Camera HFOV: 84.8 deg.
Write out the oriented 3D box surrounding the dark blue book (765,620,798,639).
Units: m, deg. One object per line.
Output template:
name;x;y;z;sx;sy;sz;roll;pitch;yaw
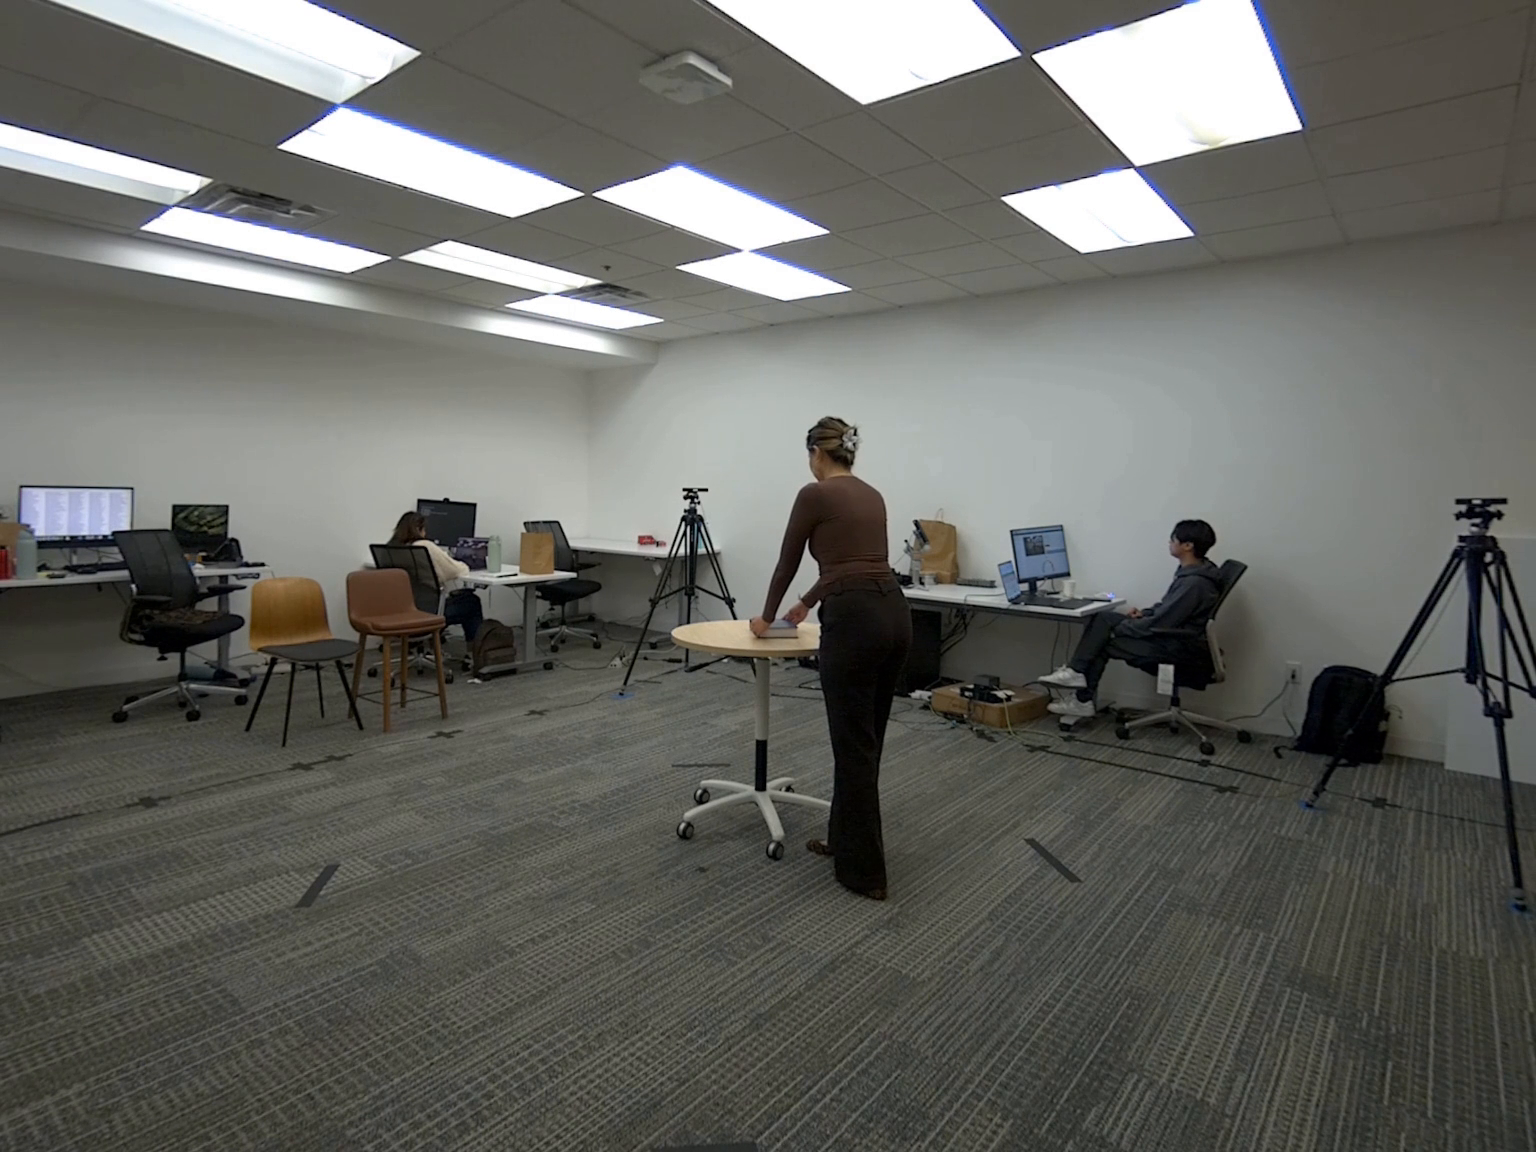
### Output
dark blue book;0.010;0.216;3.540;0.162;0.045;0.248;0;6;-7
